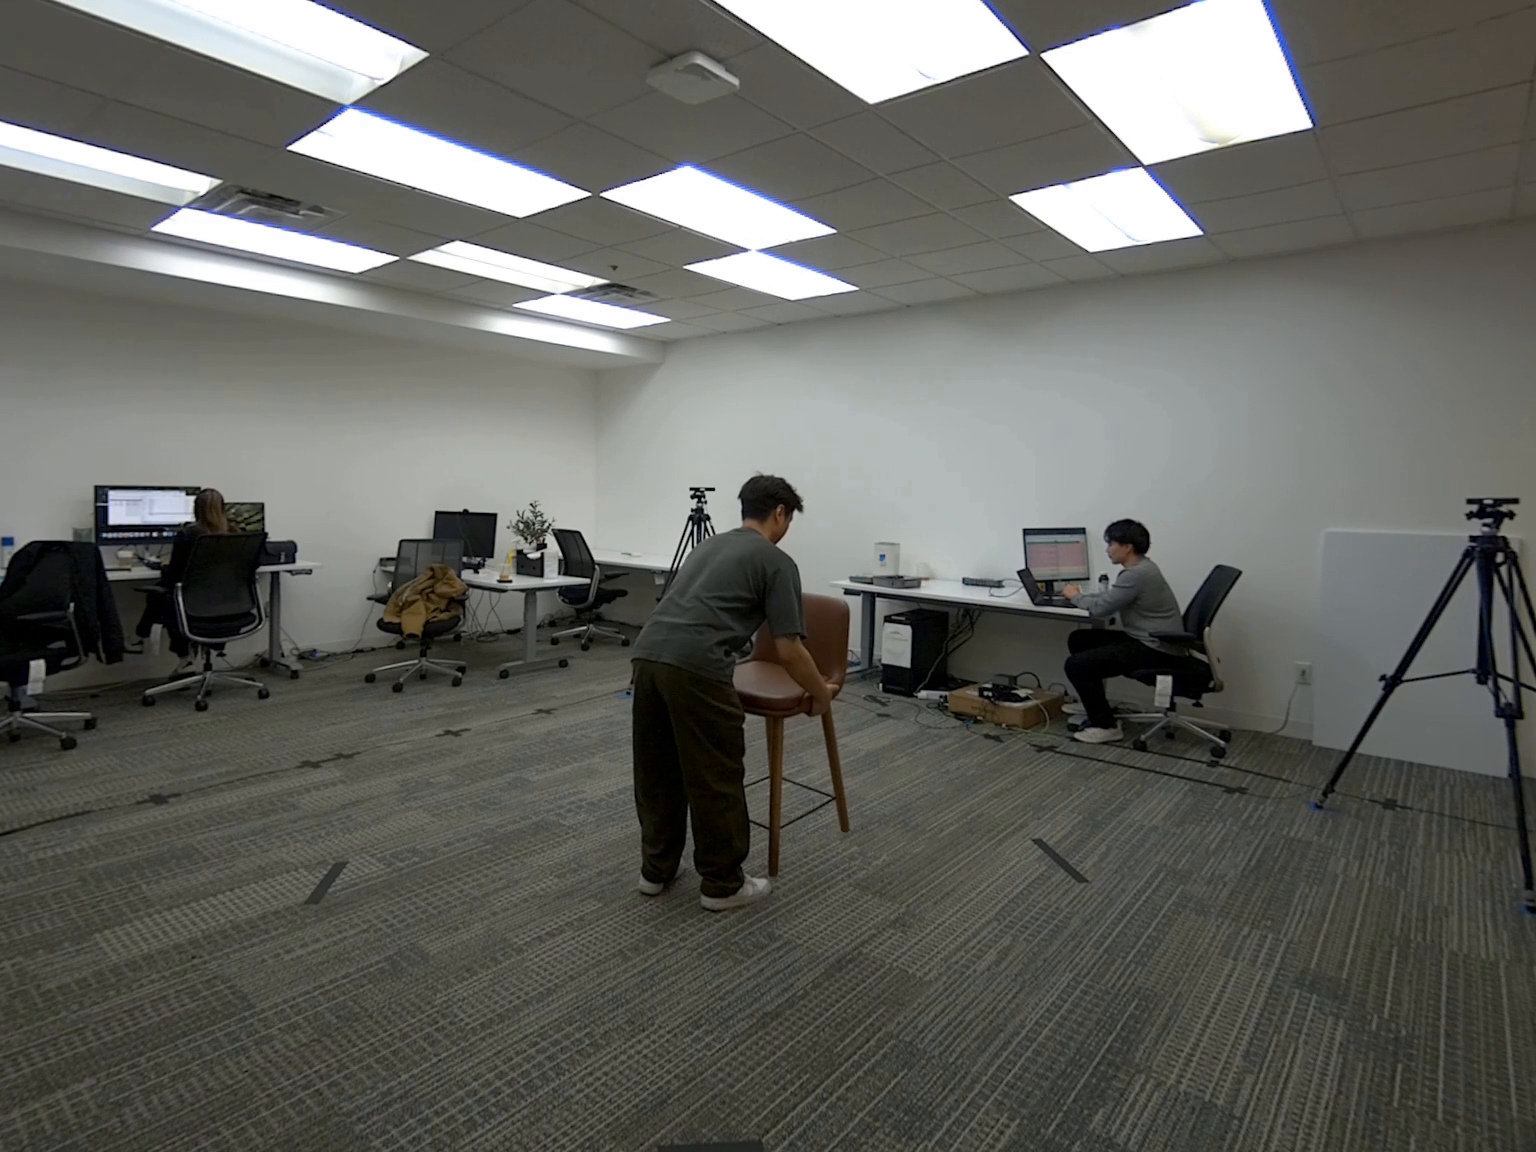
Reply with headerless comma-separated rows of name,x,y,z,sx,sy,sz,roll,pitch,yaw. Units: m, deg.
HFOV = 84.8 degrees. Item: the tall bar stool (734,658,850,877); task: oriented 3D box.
tall bar stool,0.004,0.532,3.099,0.472,0.884,0.454,7,9,44
